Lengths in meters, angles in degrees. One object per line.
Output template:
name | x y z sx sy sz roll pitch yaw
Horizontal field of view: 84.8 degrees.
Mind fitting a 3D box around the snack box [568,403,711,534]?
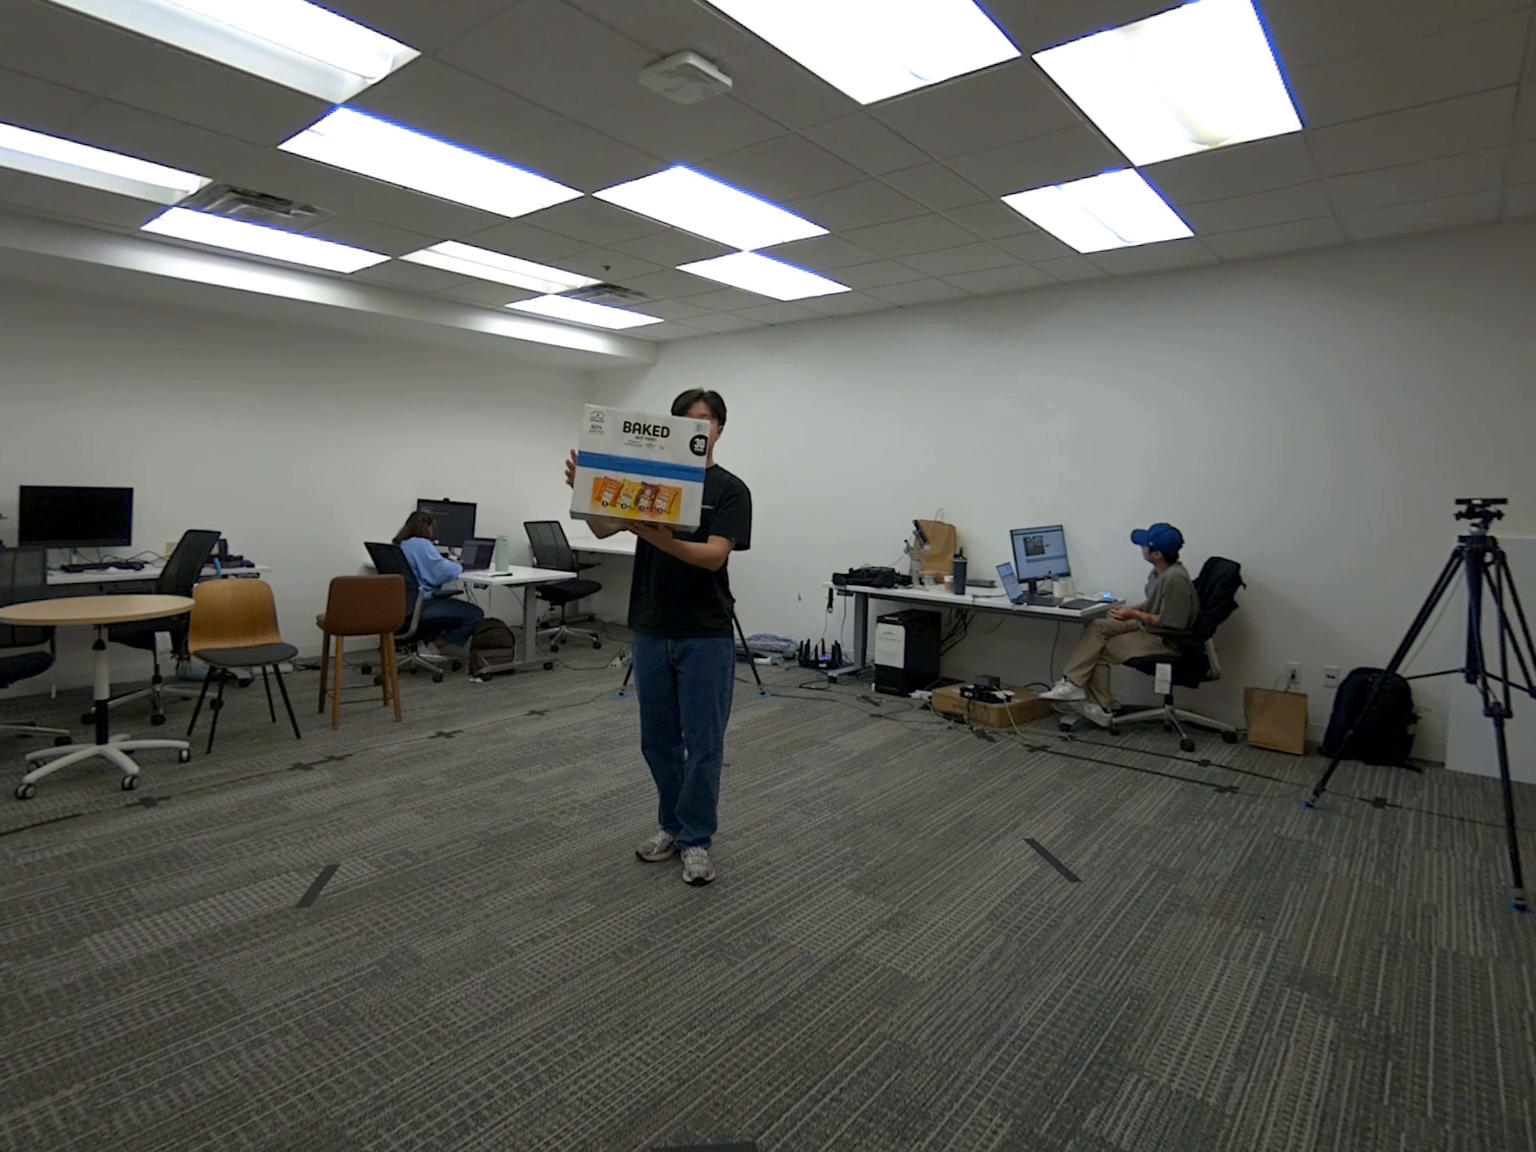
snack box | -0.420 -0.342 2.735 0.401 0.342 0.206 7 -7 -8
